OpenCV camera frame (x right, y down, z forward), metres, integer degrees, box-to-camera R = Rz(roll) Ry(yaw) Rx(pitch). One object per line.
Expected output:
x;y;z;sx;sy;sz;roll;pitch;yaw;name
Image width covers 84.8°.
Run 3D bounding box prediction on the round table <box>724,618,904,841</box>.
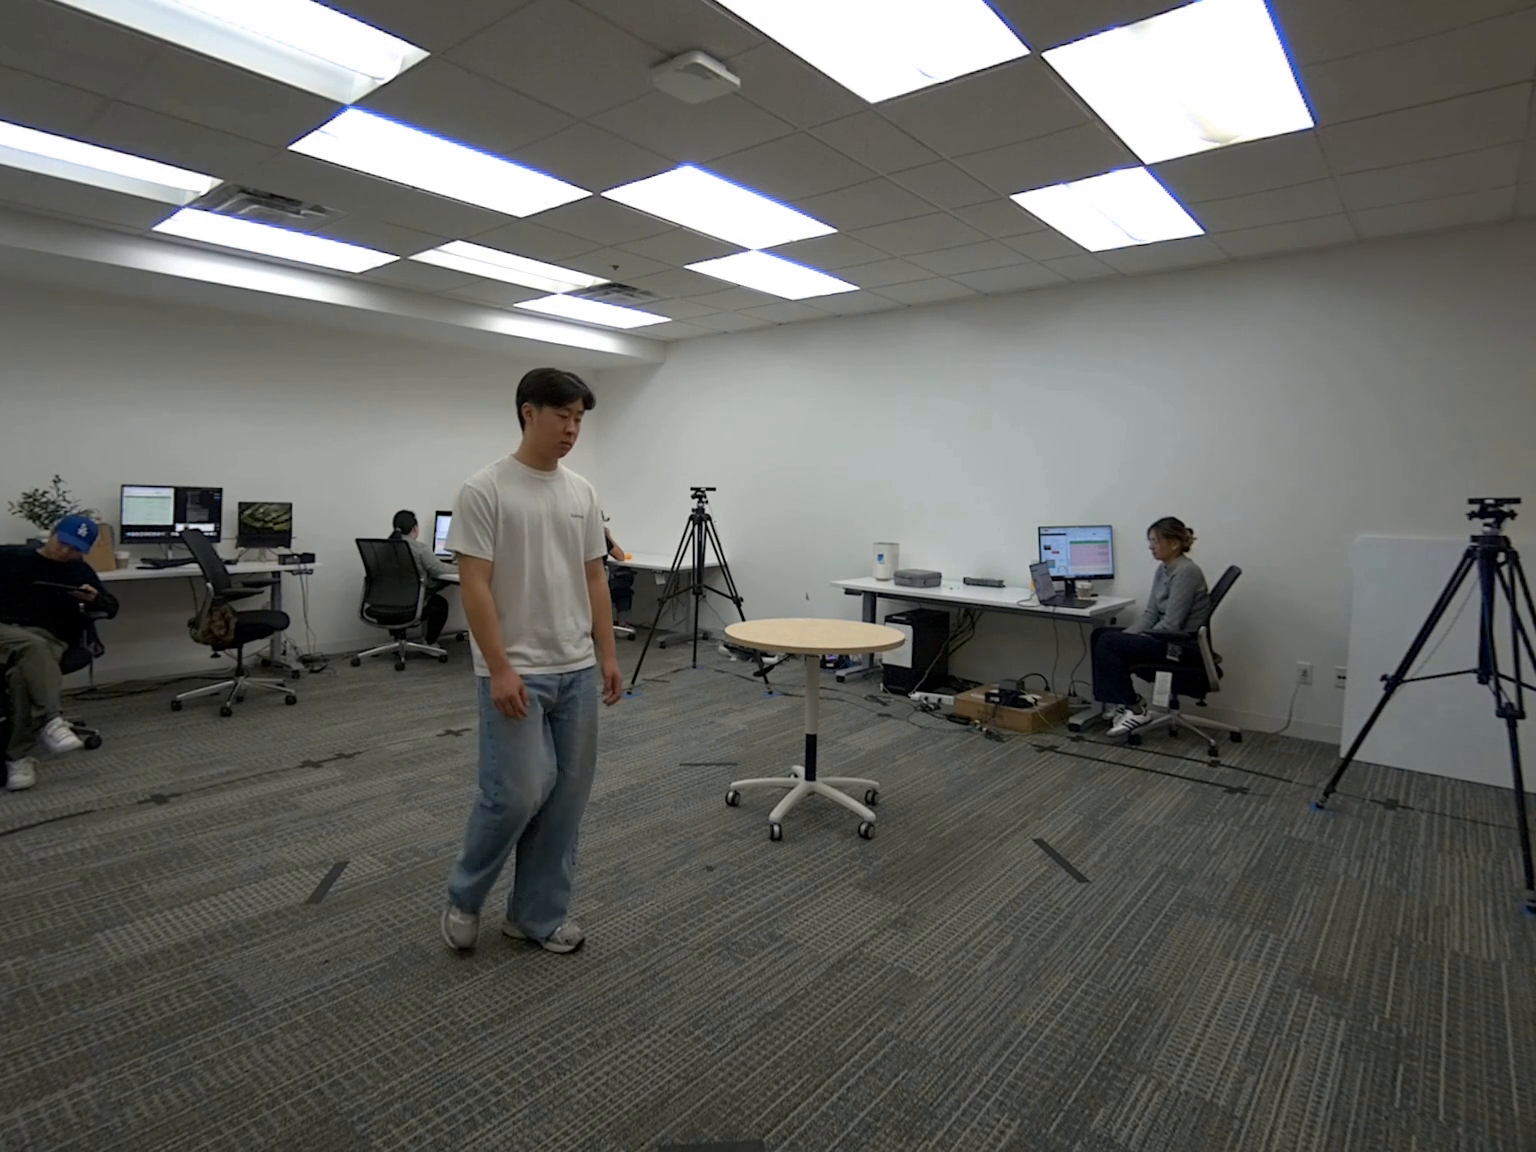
0.173;0.630;3.668;0.763;0.791;0.768;1;4;-2;round table
